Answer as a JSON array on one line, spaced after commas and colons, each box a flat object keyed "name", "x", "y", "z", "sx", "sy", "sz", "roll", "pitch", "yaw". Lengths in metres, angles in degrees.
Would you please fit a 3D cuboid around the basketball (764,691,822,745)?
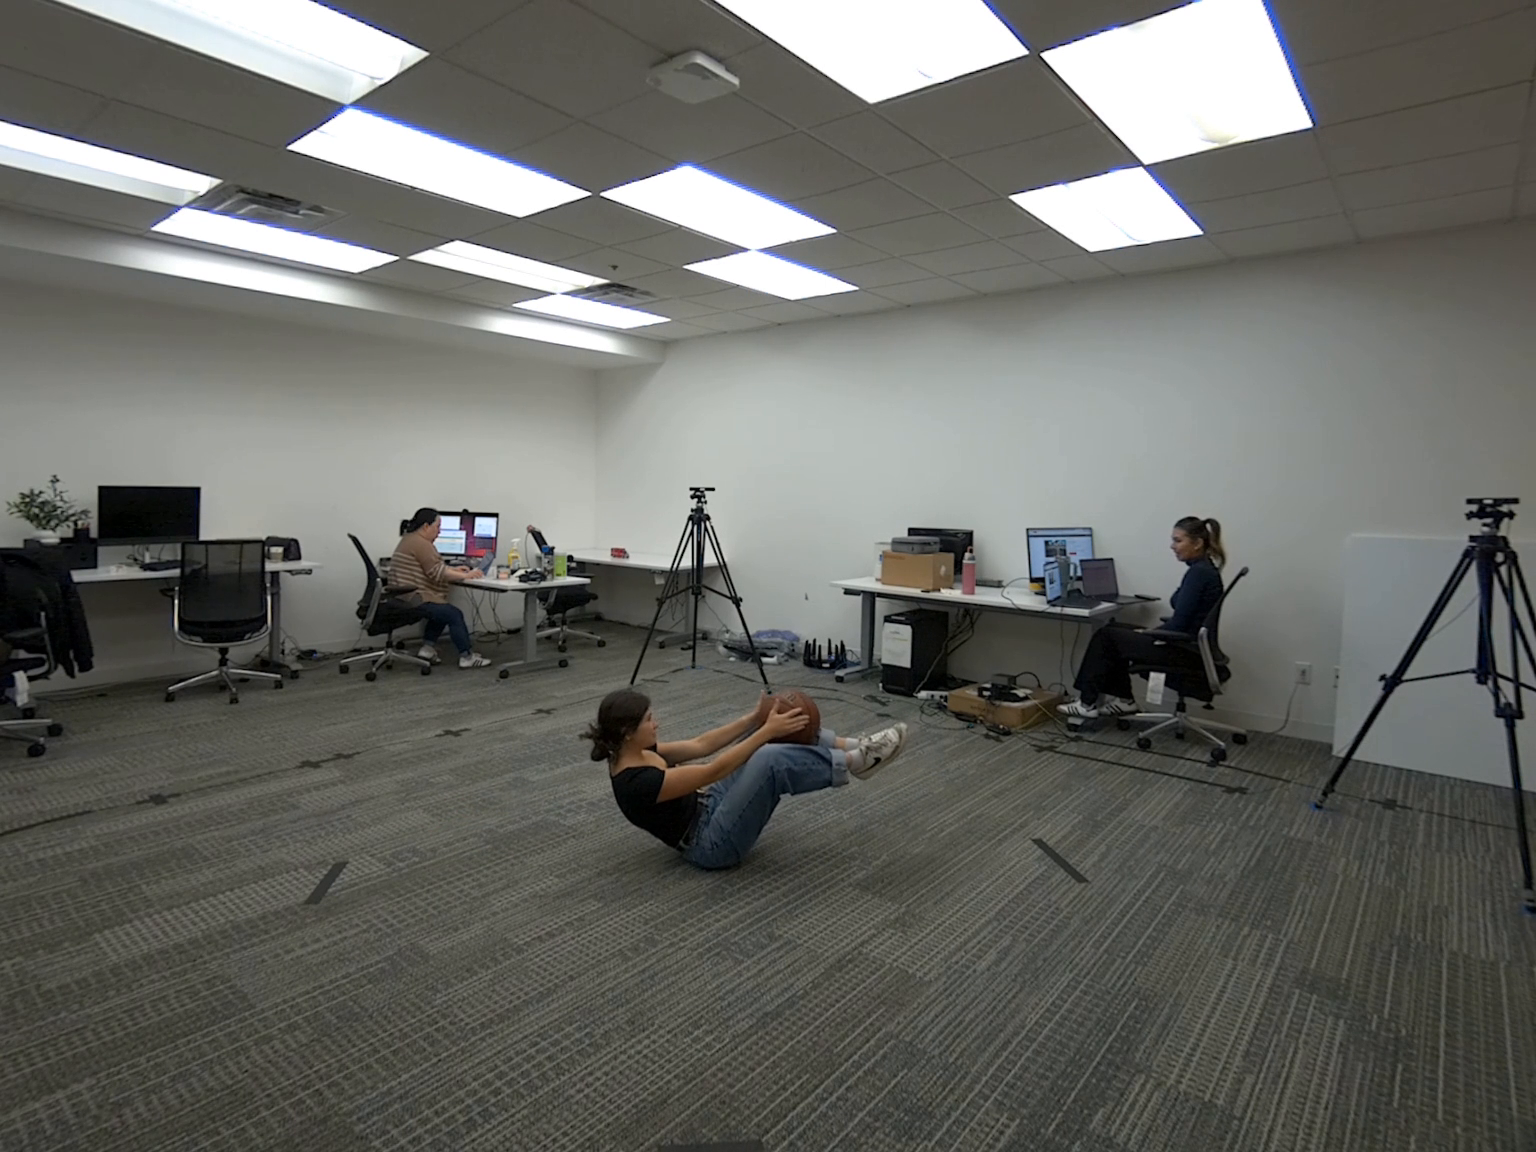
[{"name": "basketball", "x": 0.056, "y": 0.536, "z": 3.239, "sx": 0.235, "sy": 0.235, "sz": 0.237, "roll": 1, "pitch": 4, "yaw": -2}]
